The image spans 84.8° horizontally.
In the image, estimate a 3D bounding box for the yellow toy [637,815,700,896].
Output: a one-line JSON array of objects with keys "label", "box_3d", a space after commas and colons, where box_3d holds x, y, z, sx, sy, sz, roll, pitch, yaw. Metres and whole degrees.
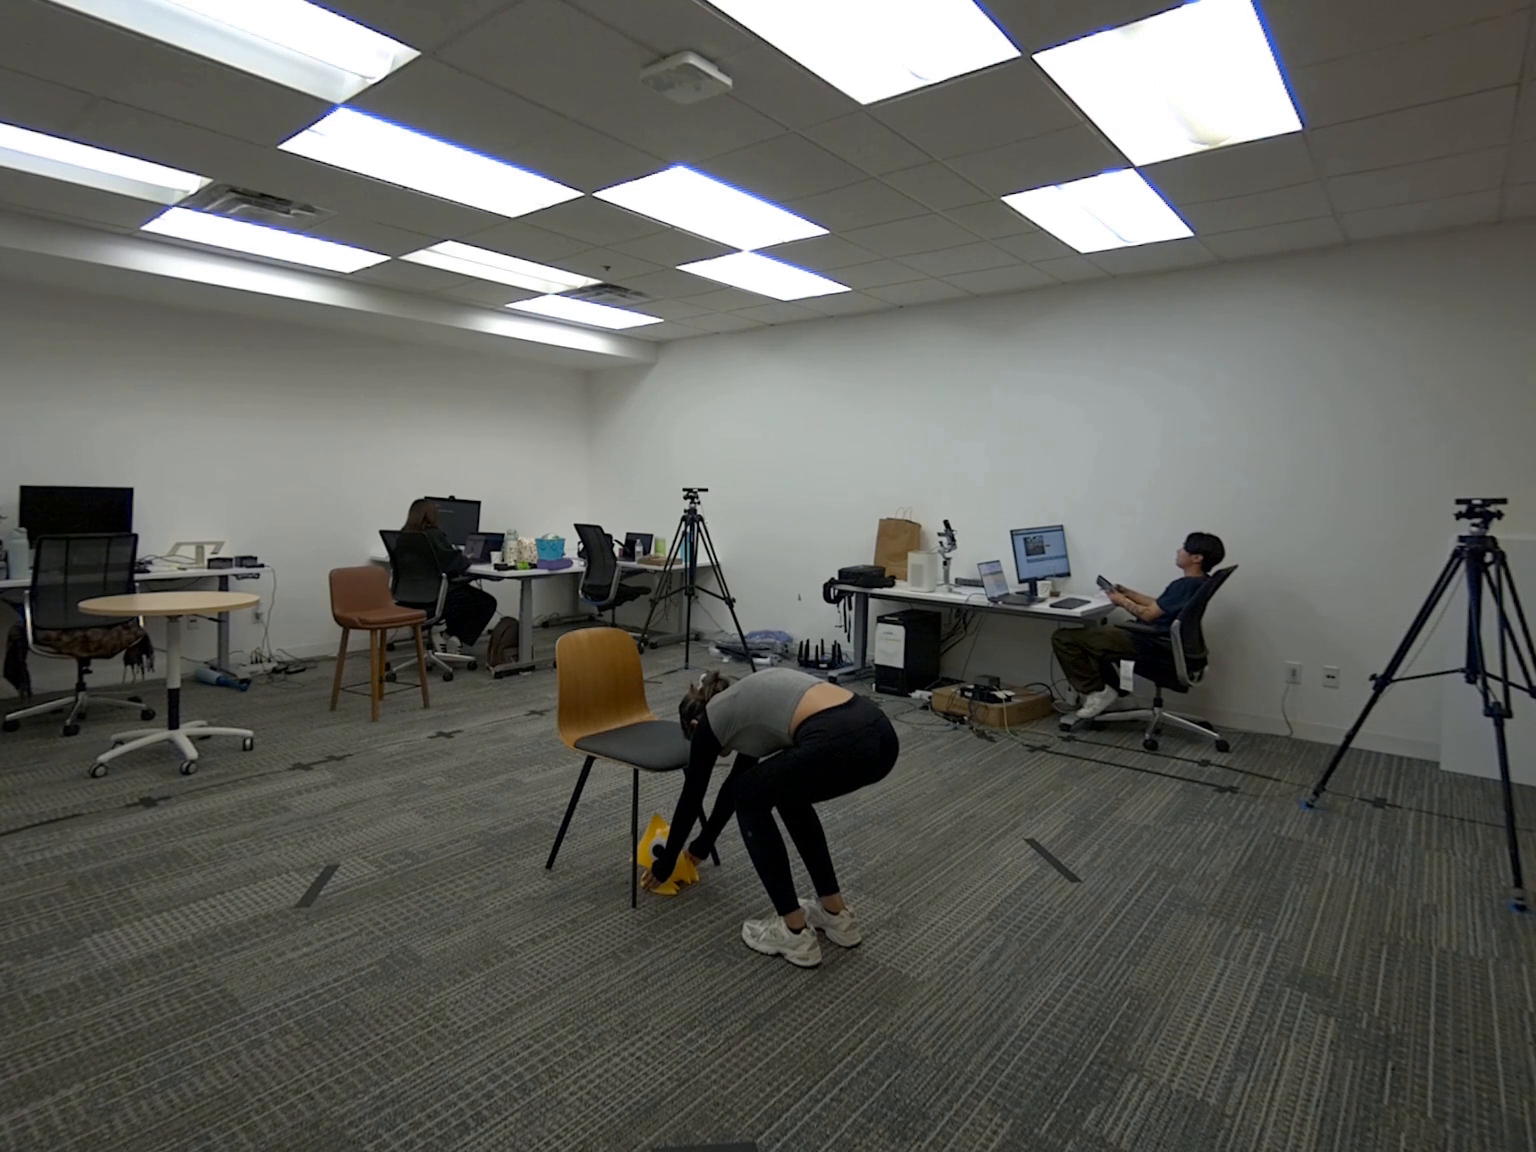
[{"label": "yellow toy", "box_3d": [-0.360, 0.967, 3.013, 0.199, 0.230, 0.199, 3, 4, 35]}]
